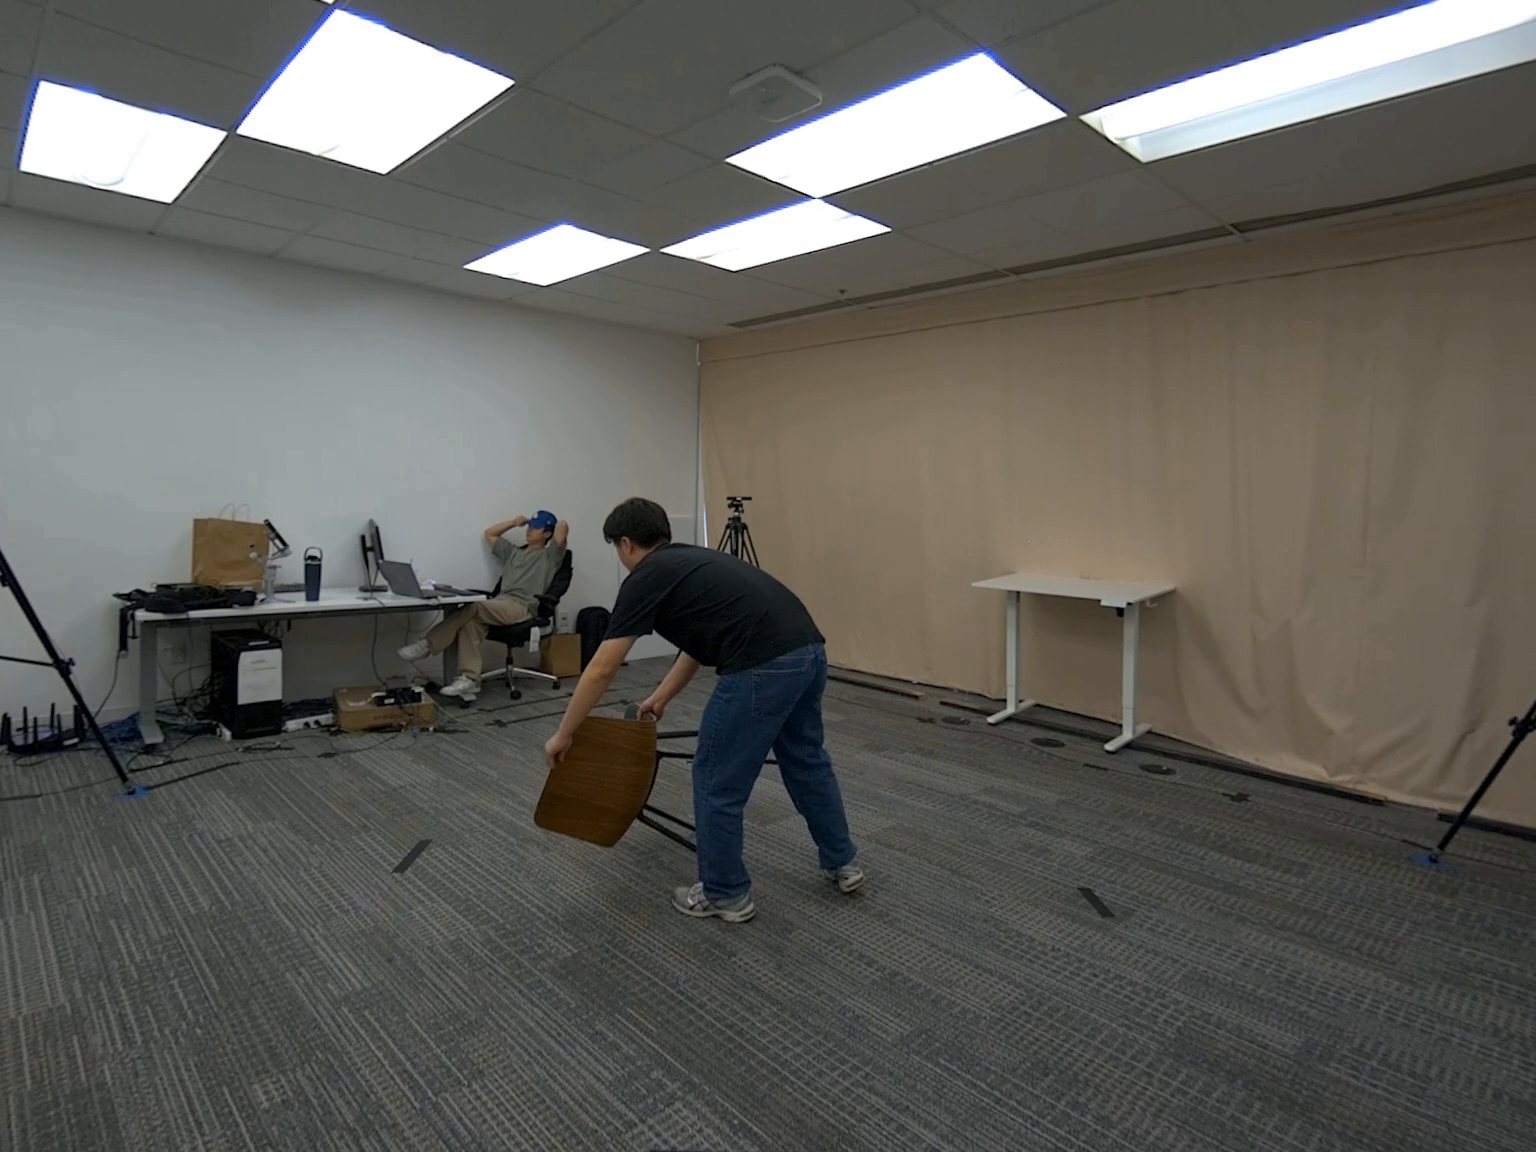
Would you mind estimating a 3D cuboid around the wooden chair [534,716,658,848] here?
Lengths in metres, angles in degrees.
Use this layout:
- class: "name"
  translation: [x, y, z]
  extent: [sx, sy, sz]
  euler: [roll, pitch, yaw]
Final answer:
- class: "wooden chair"
  translation: [-0.488, 0.750, 3.153]
  extent: [0.856, 0.479, 0.535]
  euler: [20, -4, -28]
